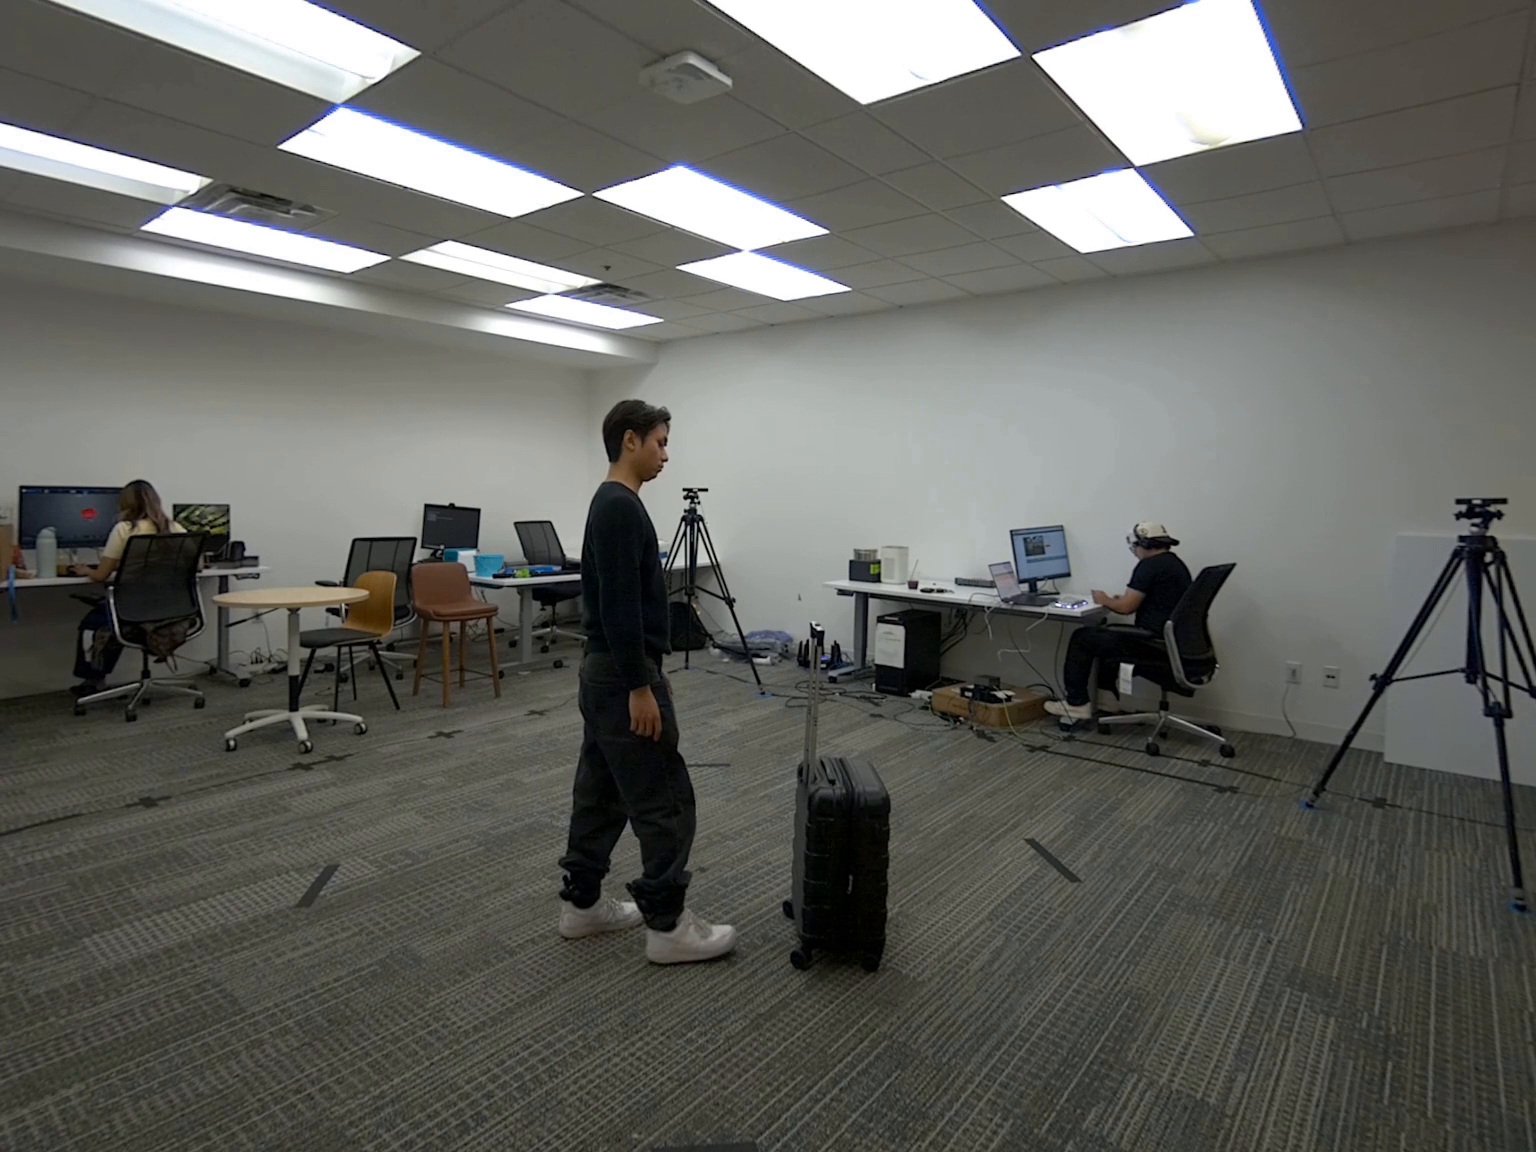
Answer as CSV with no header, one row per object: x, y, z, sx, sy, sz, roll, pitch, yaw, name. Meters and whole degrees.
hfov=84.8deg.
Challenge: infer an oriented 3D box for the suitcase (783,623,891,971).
0.220,0.657,2.592,0.256,0.975,0.386,4,4,-3,suitcase
